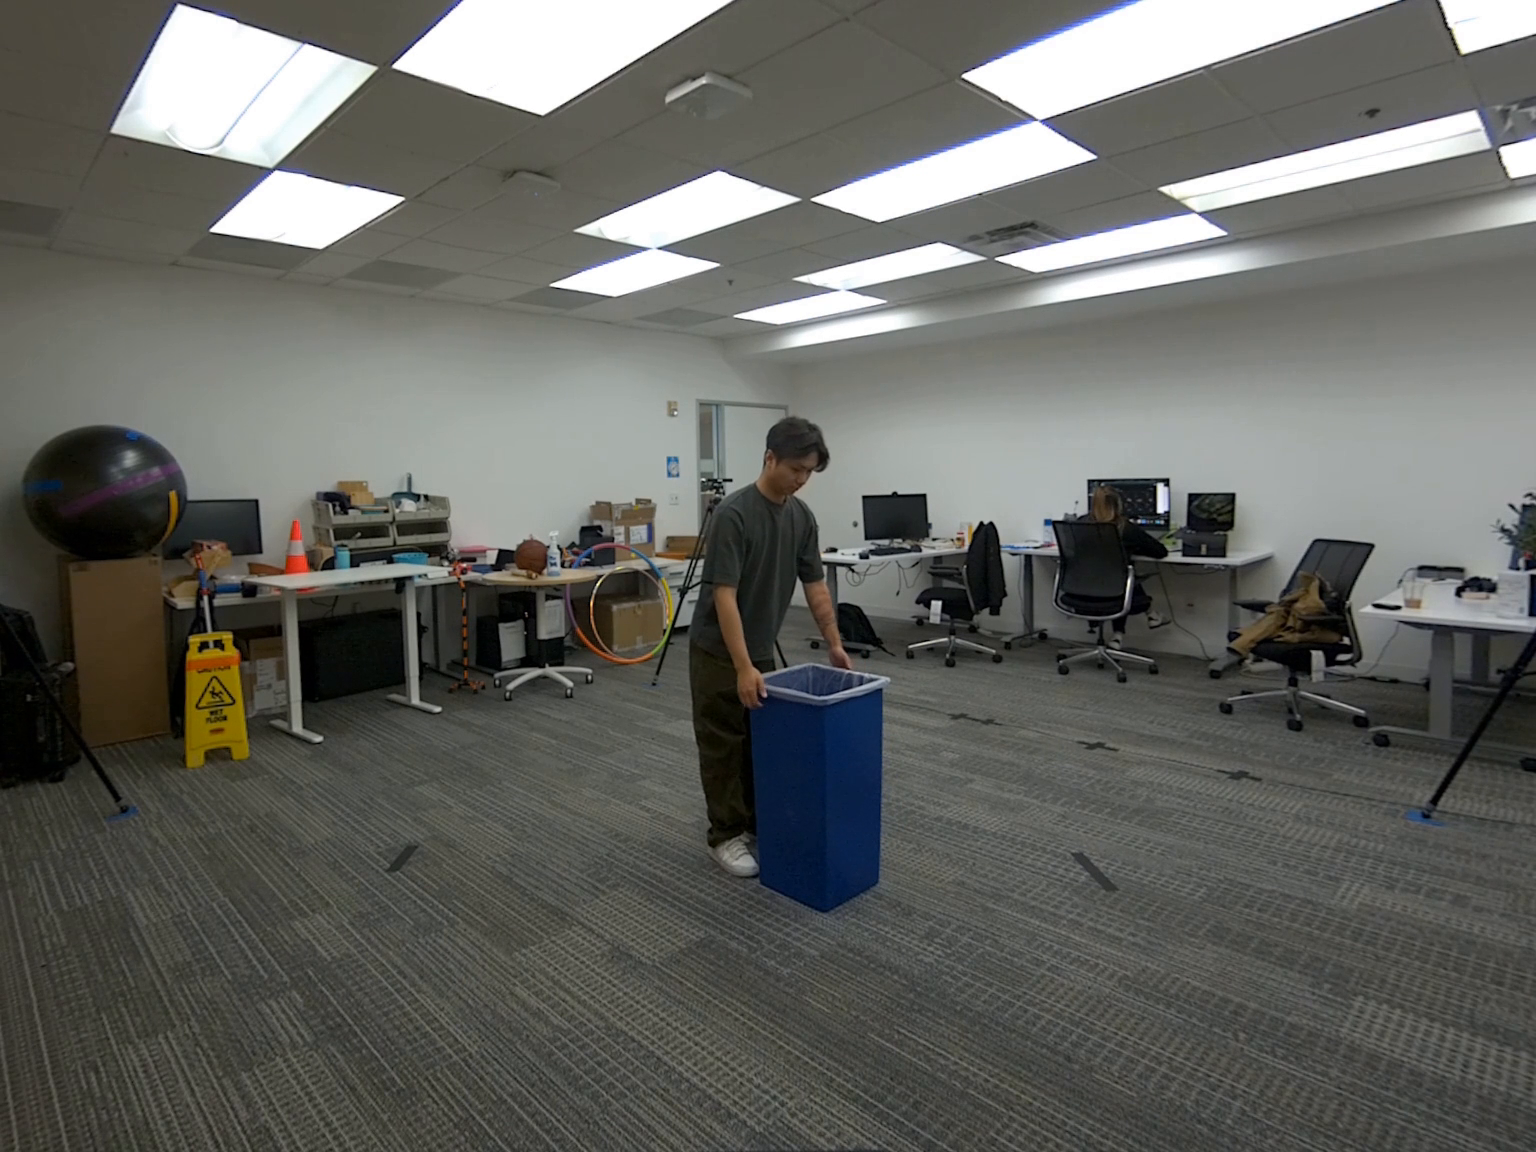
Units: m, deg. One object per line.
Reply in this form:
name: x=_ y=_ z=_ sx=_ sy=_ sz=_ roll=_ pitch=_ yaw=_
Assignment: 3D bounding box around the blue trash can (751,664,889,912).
blue trash can: x=0.180 y=0.703 z=2.923 sx=0.385 sy=0.711 sz=0.368 roll=2 pitch=5 yaw=44
